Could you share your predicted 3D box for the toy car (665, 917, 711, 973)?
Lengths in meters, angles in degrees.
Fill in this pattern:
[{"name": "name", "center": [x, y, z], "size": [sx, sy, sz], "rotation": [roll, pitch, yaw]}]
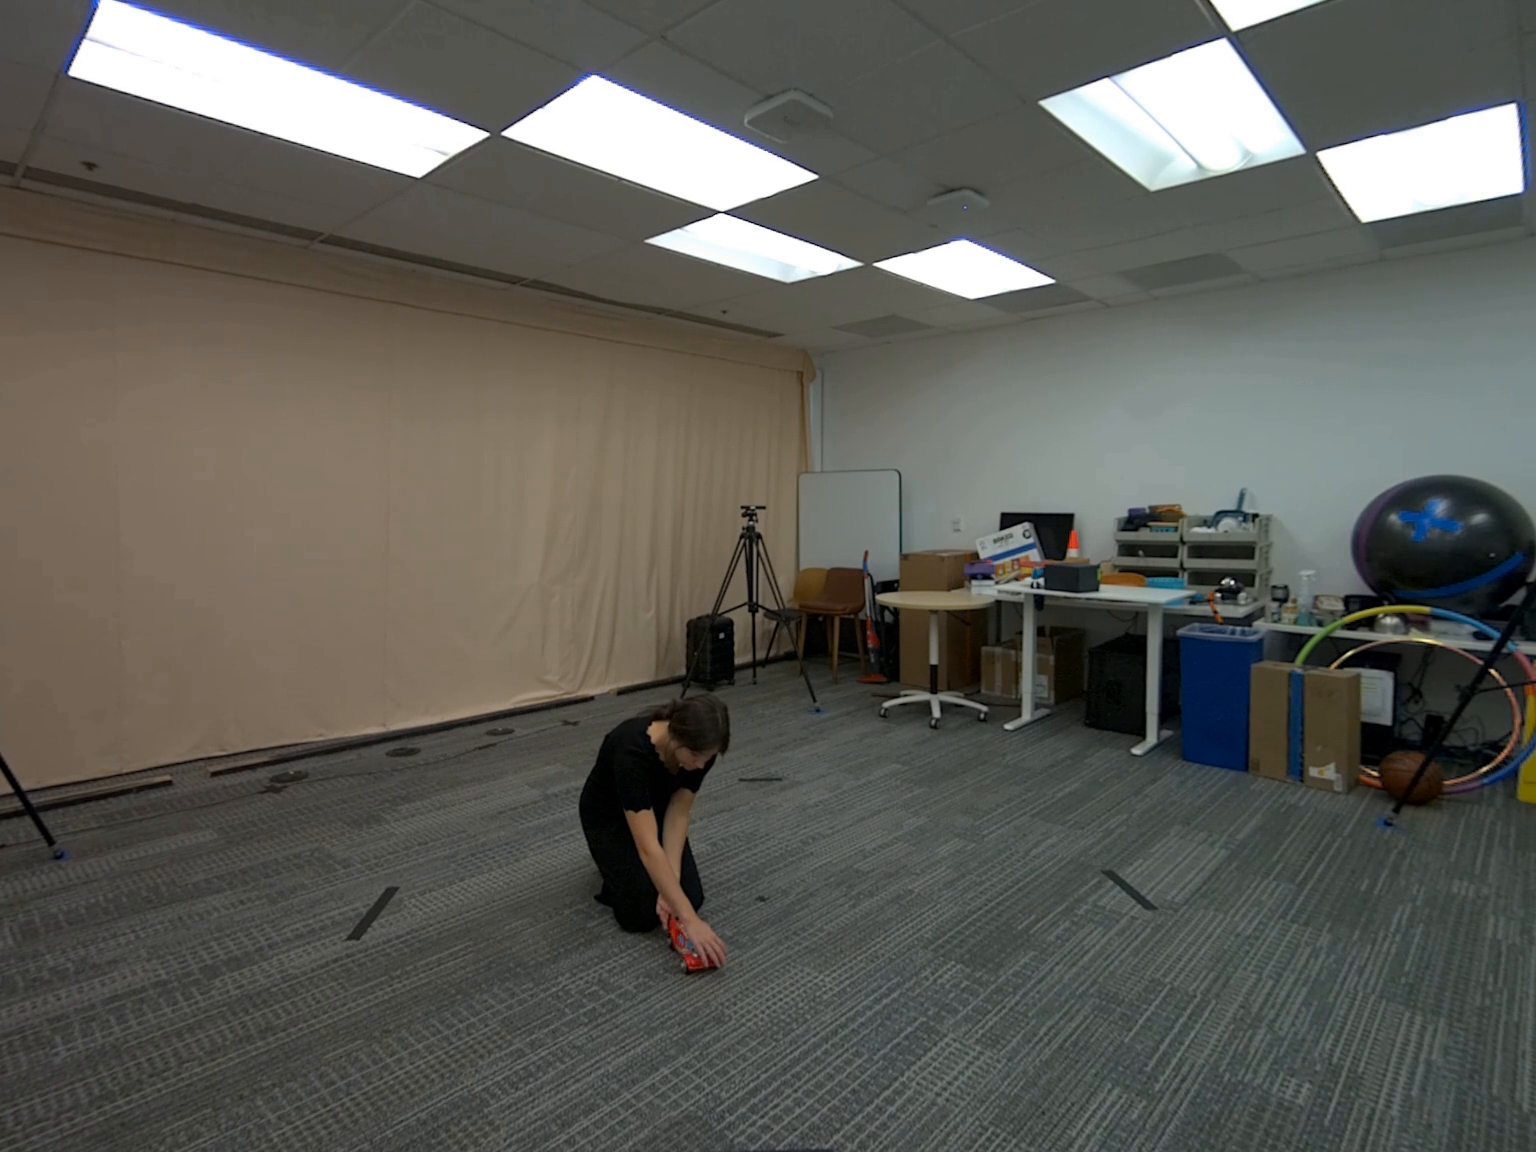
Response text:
[{"name": "toy car", "center": [-0.234, 1.148, 2.612], "size": [0.128, 0.082, 0.261], "rotation": [-2, 16, -20]}]
